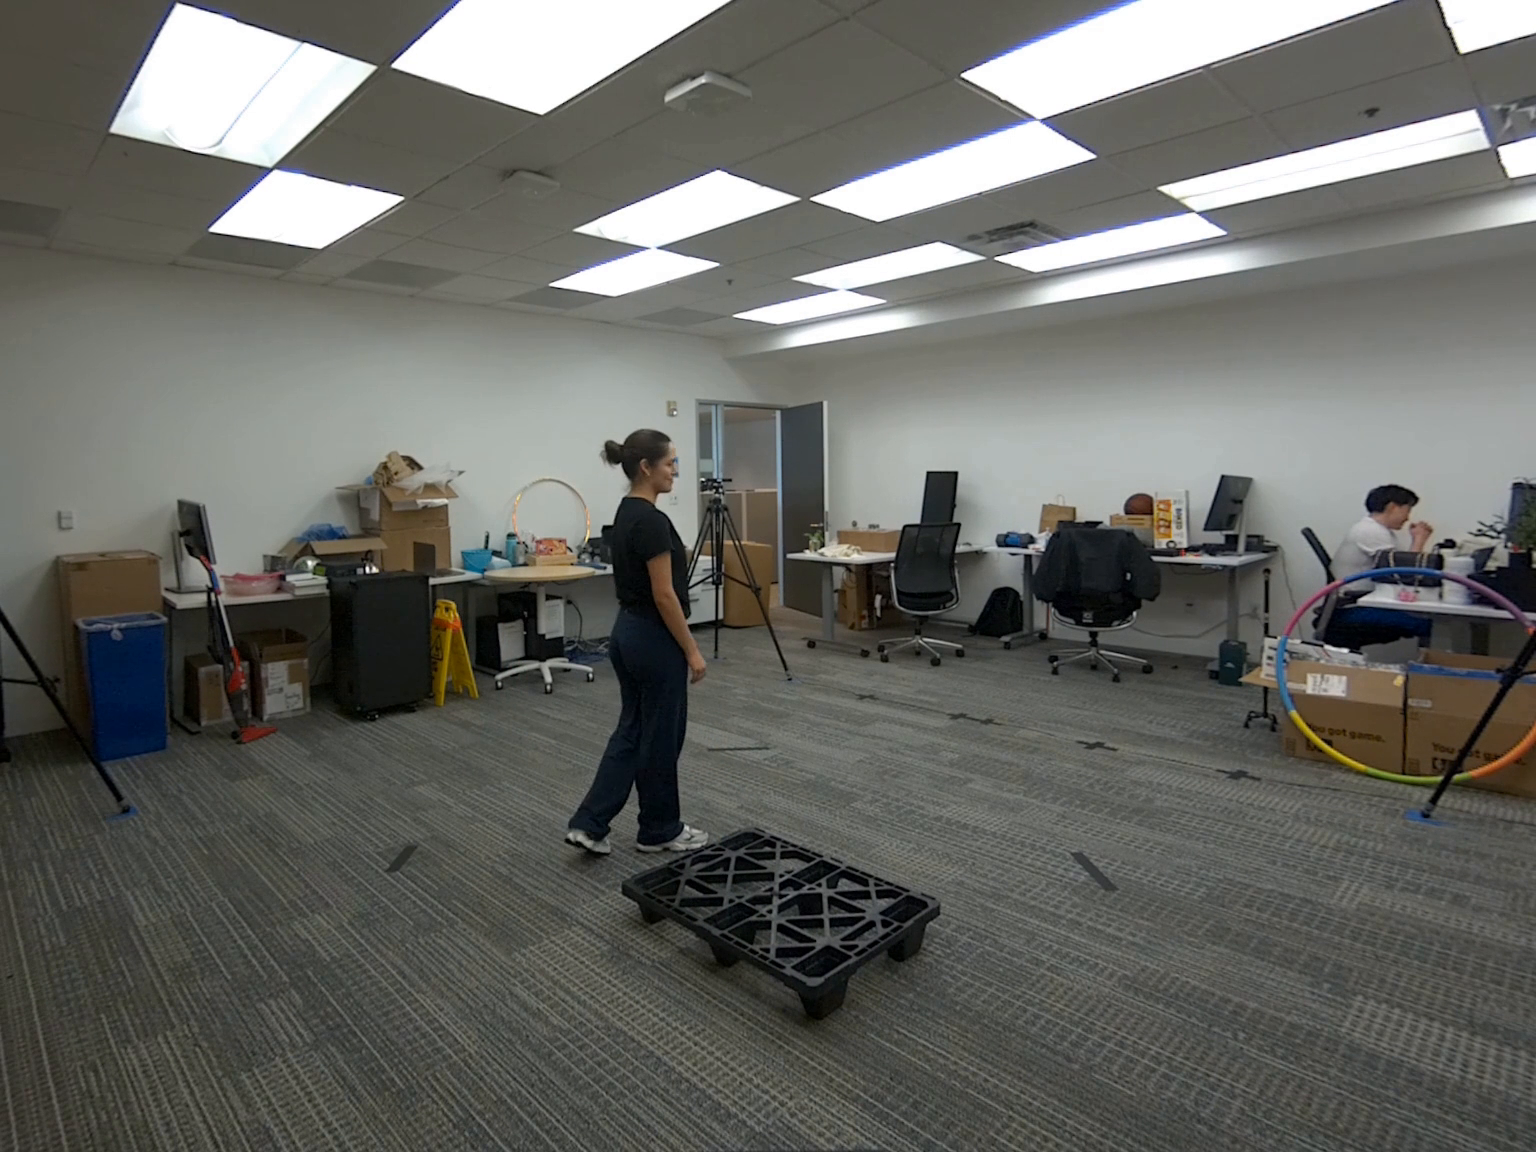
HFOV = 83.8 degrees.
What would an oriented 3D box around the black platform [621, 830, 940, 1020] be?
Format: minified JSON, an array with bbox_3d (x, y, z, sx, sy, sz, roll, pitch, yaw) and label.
[{"bbox_3d":[0.029,1.032,2.638,0.831,0.143,0.589,6,9,44],"label":"black platform"}]
